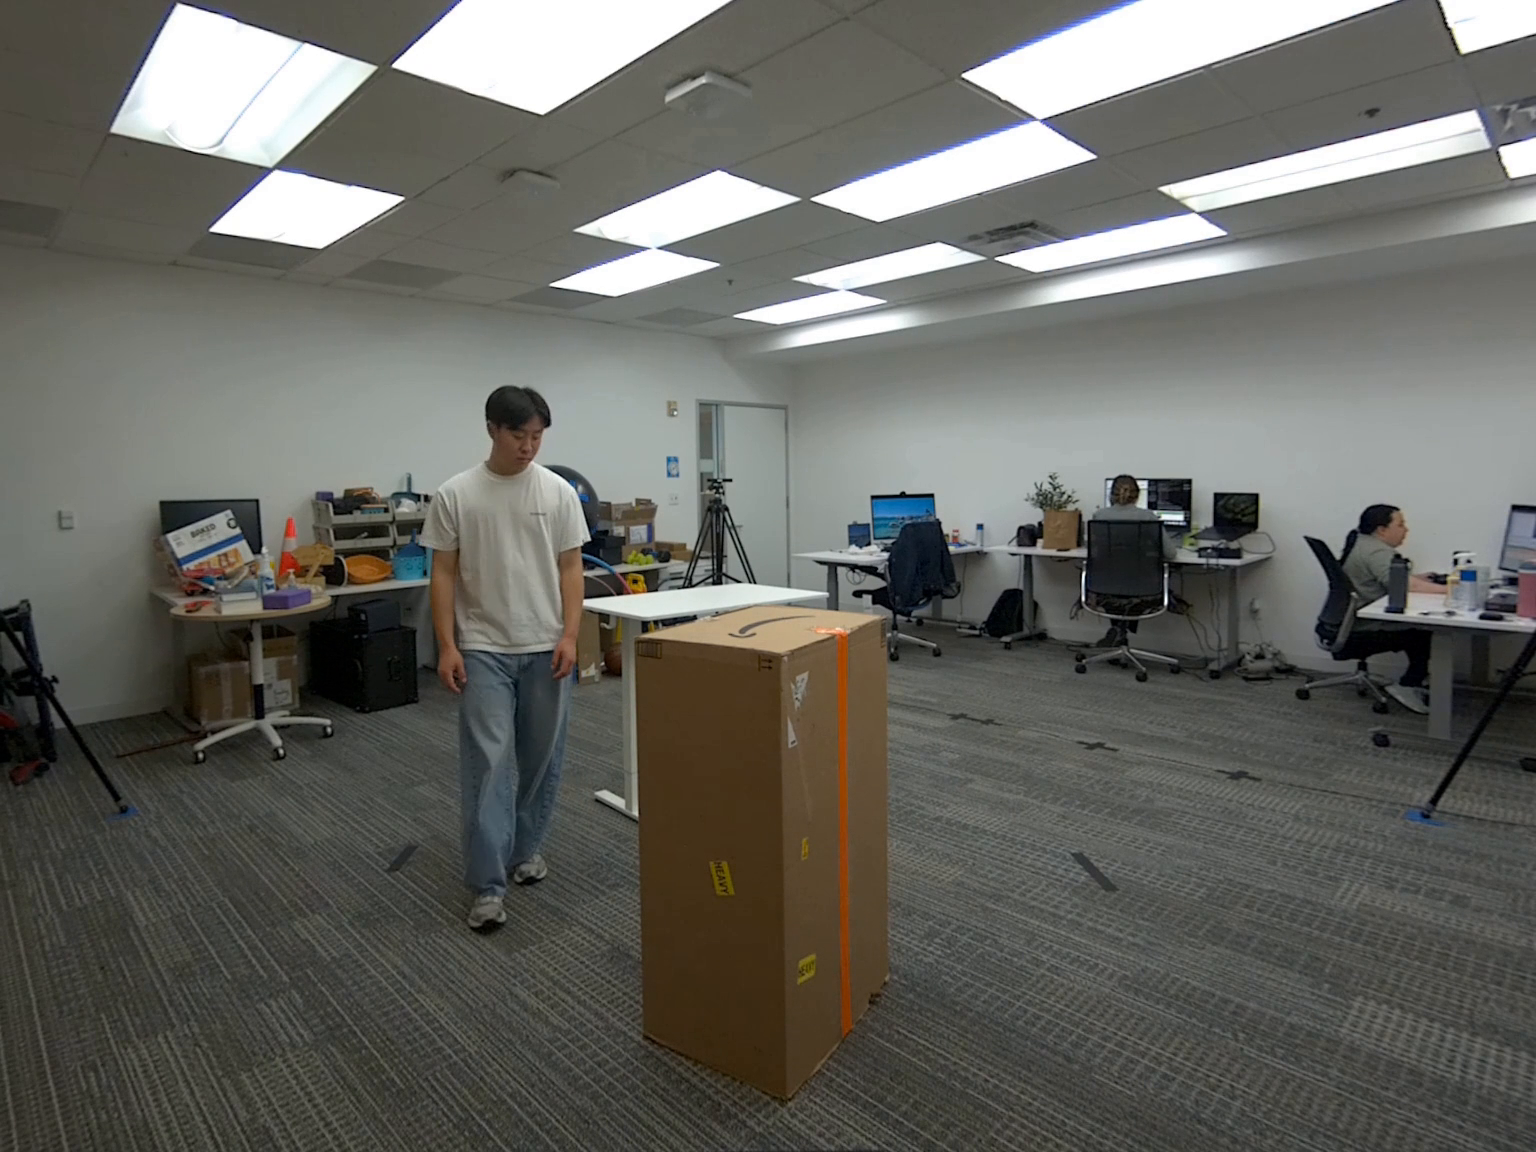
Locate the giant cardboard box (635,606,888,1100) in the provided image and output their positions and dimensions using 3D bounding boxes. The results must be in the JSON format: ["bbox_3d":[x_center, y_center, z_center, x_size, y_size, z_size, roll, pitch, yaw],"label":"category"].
[{"bbox_3d":[0.010,0.637,2.235,0.438,1.022,0.564,2,5,34],"label":"giant cardboard box"}]
